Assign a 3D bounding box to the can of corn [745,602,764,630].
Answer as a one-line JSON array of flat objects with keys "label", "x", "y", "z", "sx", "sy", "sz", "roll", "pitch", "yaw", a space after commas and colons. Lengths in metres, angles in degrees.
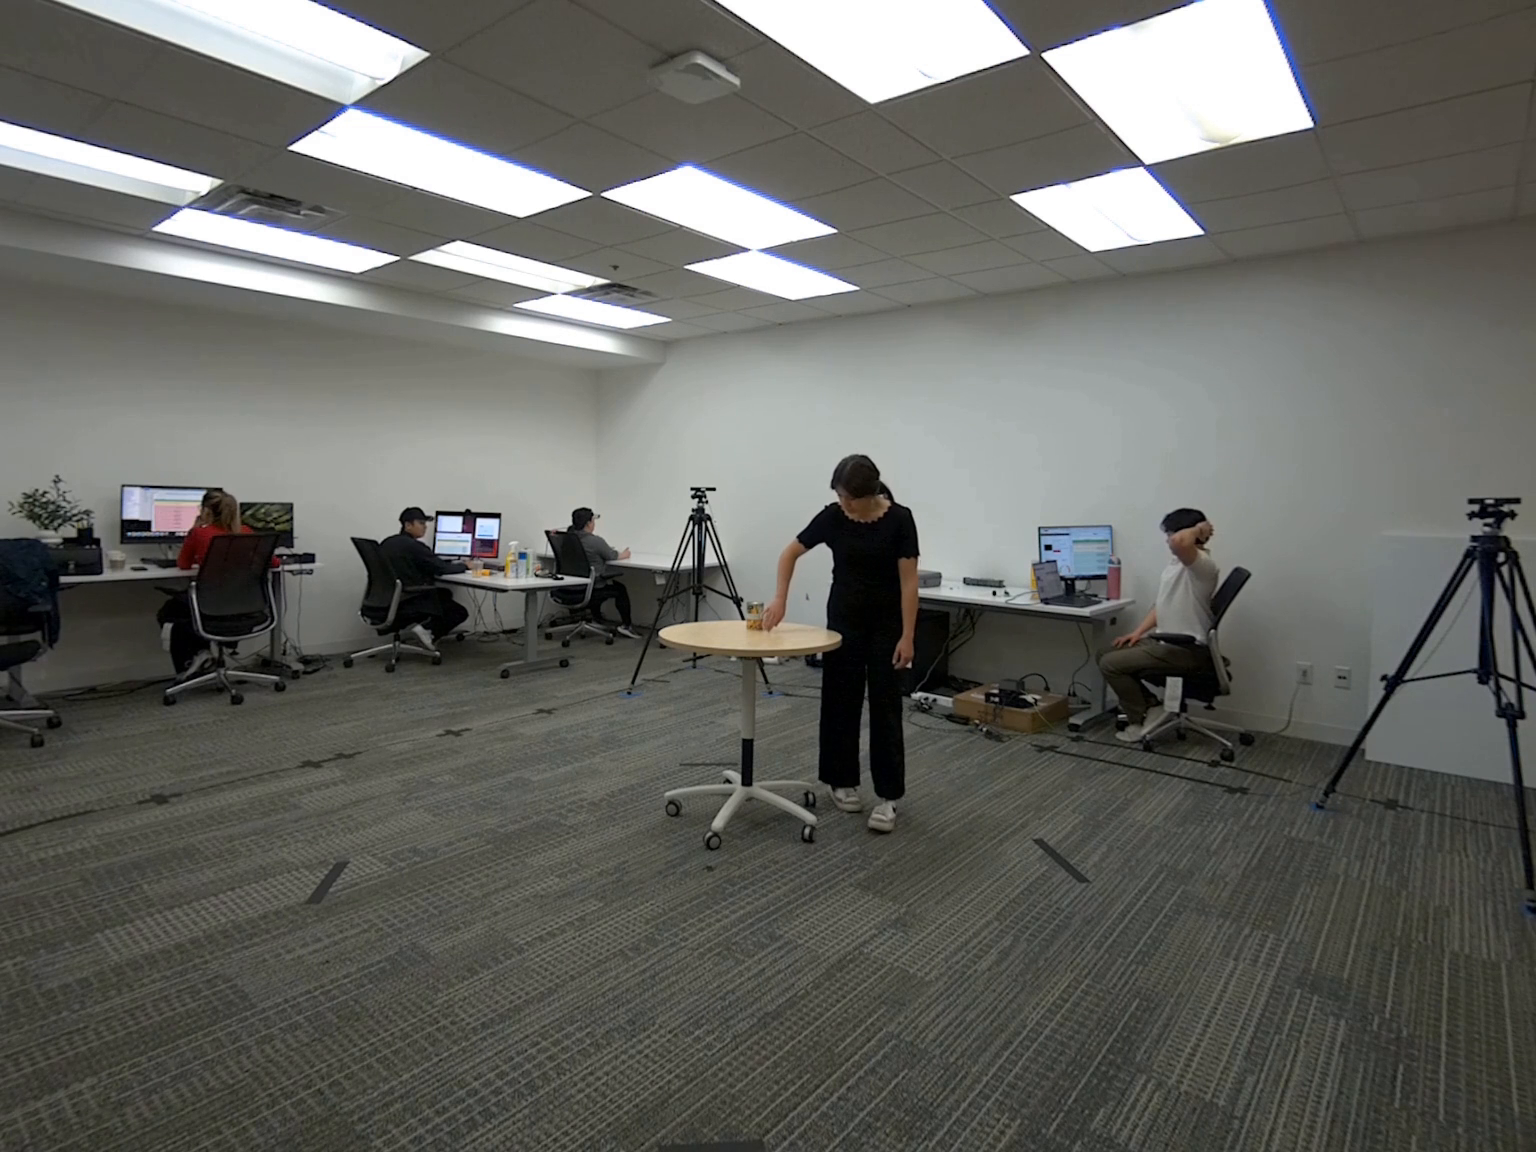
[{"label": "can of corn", "x": -0.065, "y": 0.172, "z": 3.728, "sx": 0.074, "sy": 0.111, "sz": 0.074, "roll": 3, "pitch": 1, "yaw": -2}]
